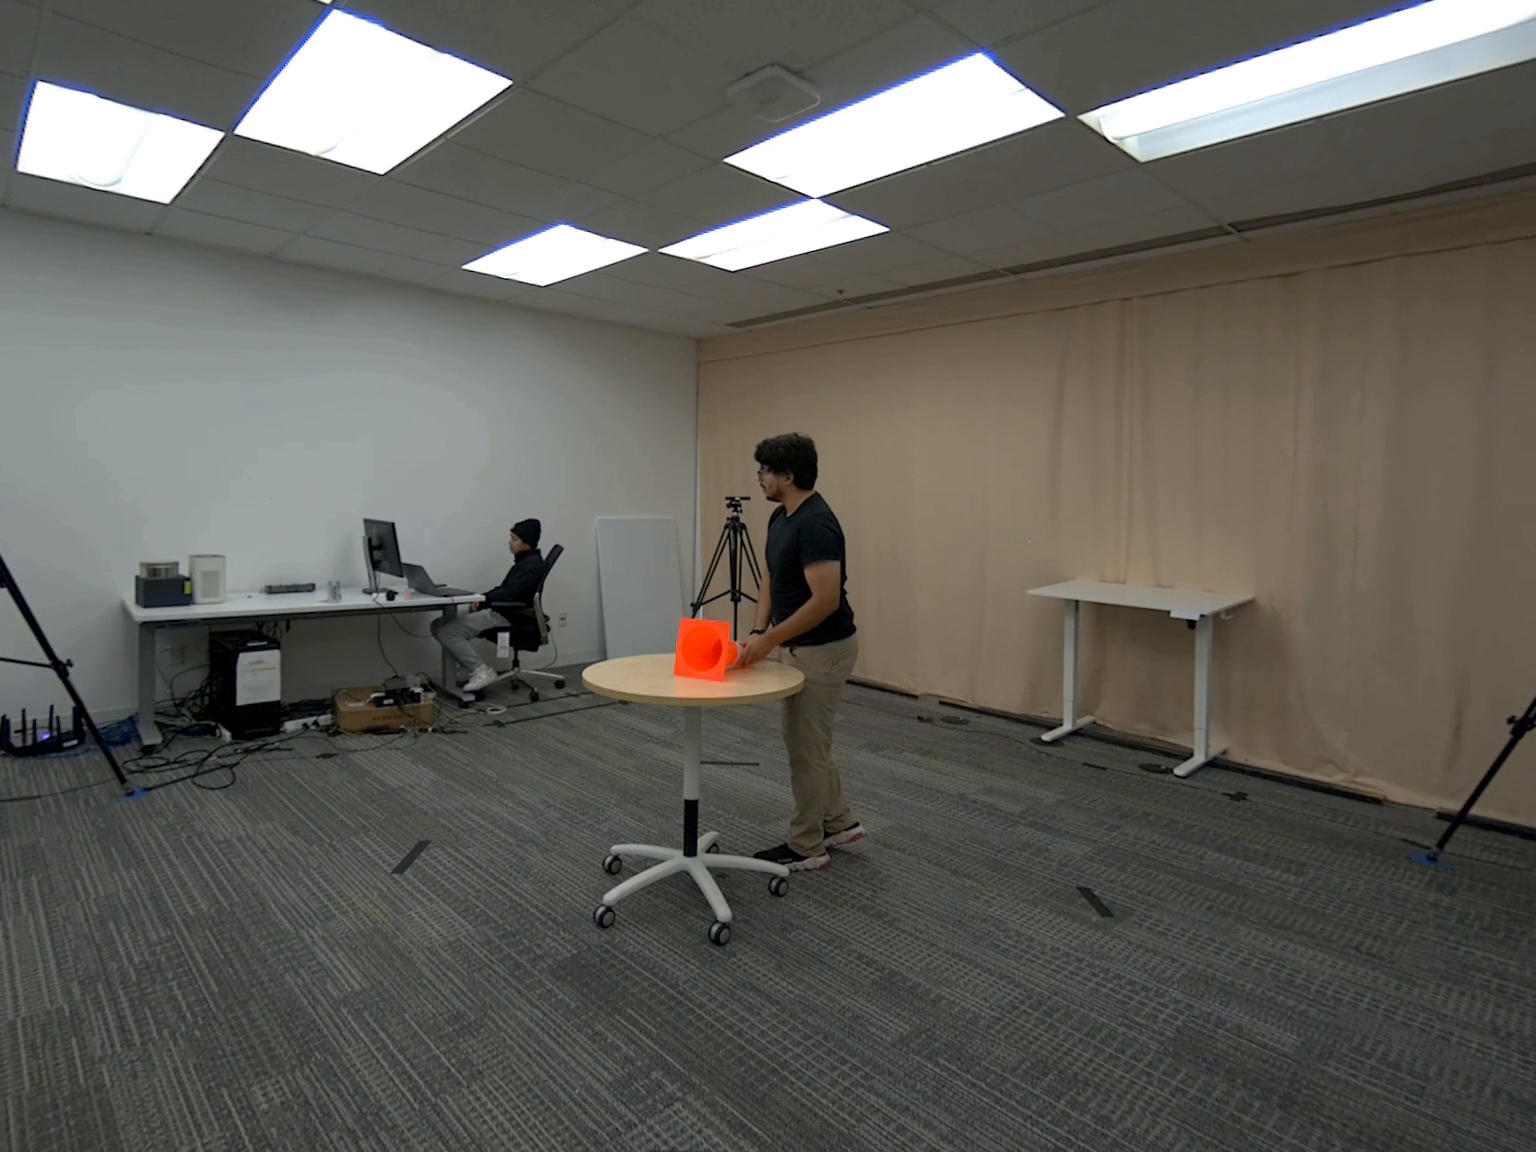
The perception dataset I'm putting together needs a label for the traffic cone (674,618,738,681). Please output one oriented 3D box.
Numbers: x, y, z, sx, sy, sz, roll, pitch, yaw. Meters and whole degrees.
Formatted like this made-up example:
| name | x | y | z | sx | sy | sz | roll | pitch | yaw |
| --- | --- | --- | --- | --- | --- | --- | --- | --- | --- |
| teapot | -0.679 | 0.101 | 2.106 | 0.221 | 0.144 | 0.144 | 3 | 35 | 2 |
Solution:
| name | x | y | z | sx | sy | sz | roll | pitch | yaw |
| --- | --- | --- | --- | --- | --- | --- | --- | --- | --- |
| traffic cone | -0.156 | 0.283 | 2.992 | 0.207 | 0.206 | 0.374 | 3 | -9 | 26 |
